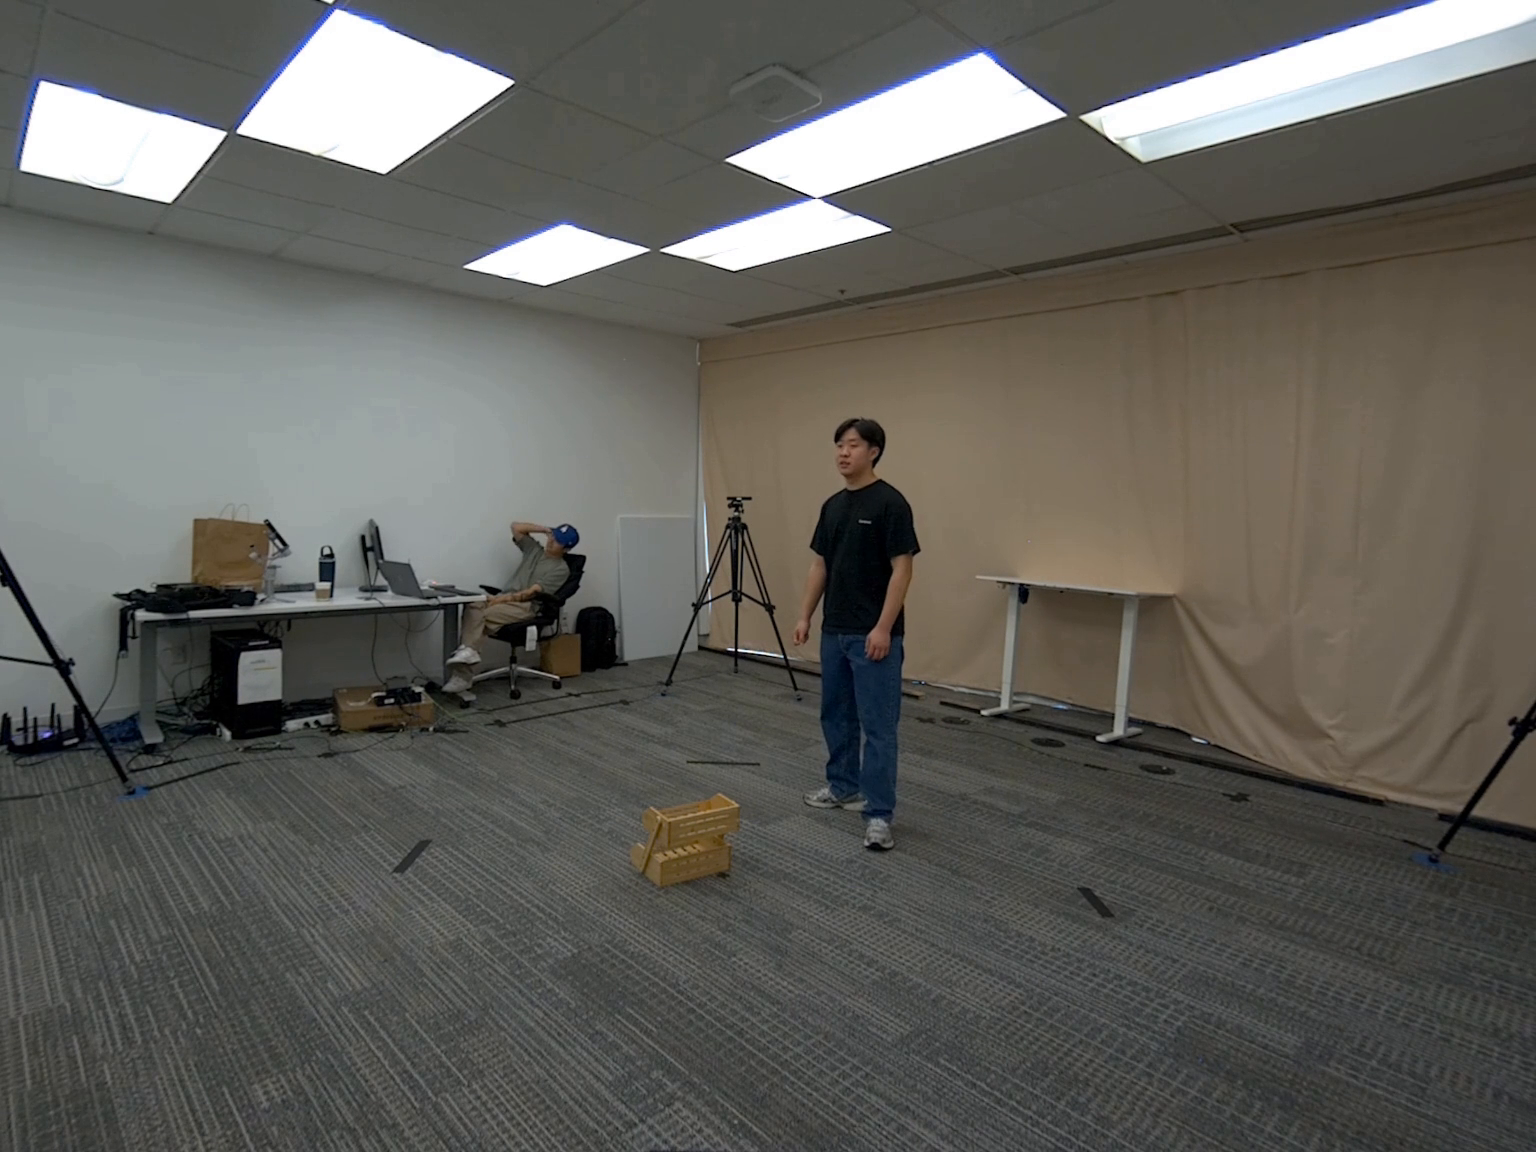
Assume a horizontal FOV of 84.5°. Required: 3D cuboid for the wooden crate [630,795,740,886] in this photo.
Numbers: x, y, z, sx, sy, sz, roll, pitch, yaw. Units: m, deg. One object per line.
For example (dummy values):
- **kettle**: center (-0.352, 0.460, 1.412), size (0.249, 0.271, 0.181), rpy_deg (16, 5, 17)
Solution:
- **wooden crate**: center (-0.320, 0.964, 3.154), size (0.317, 0.272, 0.309), rpy_deg (-1, 6, -34)
